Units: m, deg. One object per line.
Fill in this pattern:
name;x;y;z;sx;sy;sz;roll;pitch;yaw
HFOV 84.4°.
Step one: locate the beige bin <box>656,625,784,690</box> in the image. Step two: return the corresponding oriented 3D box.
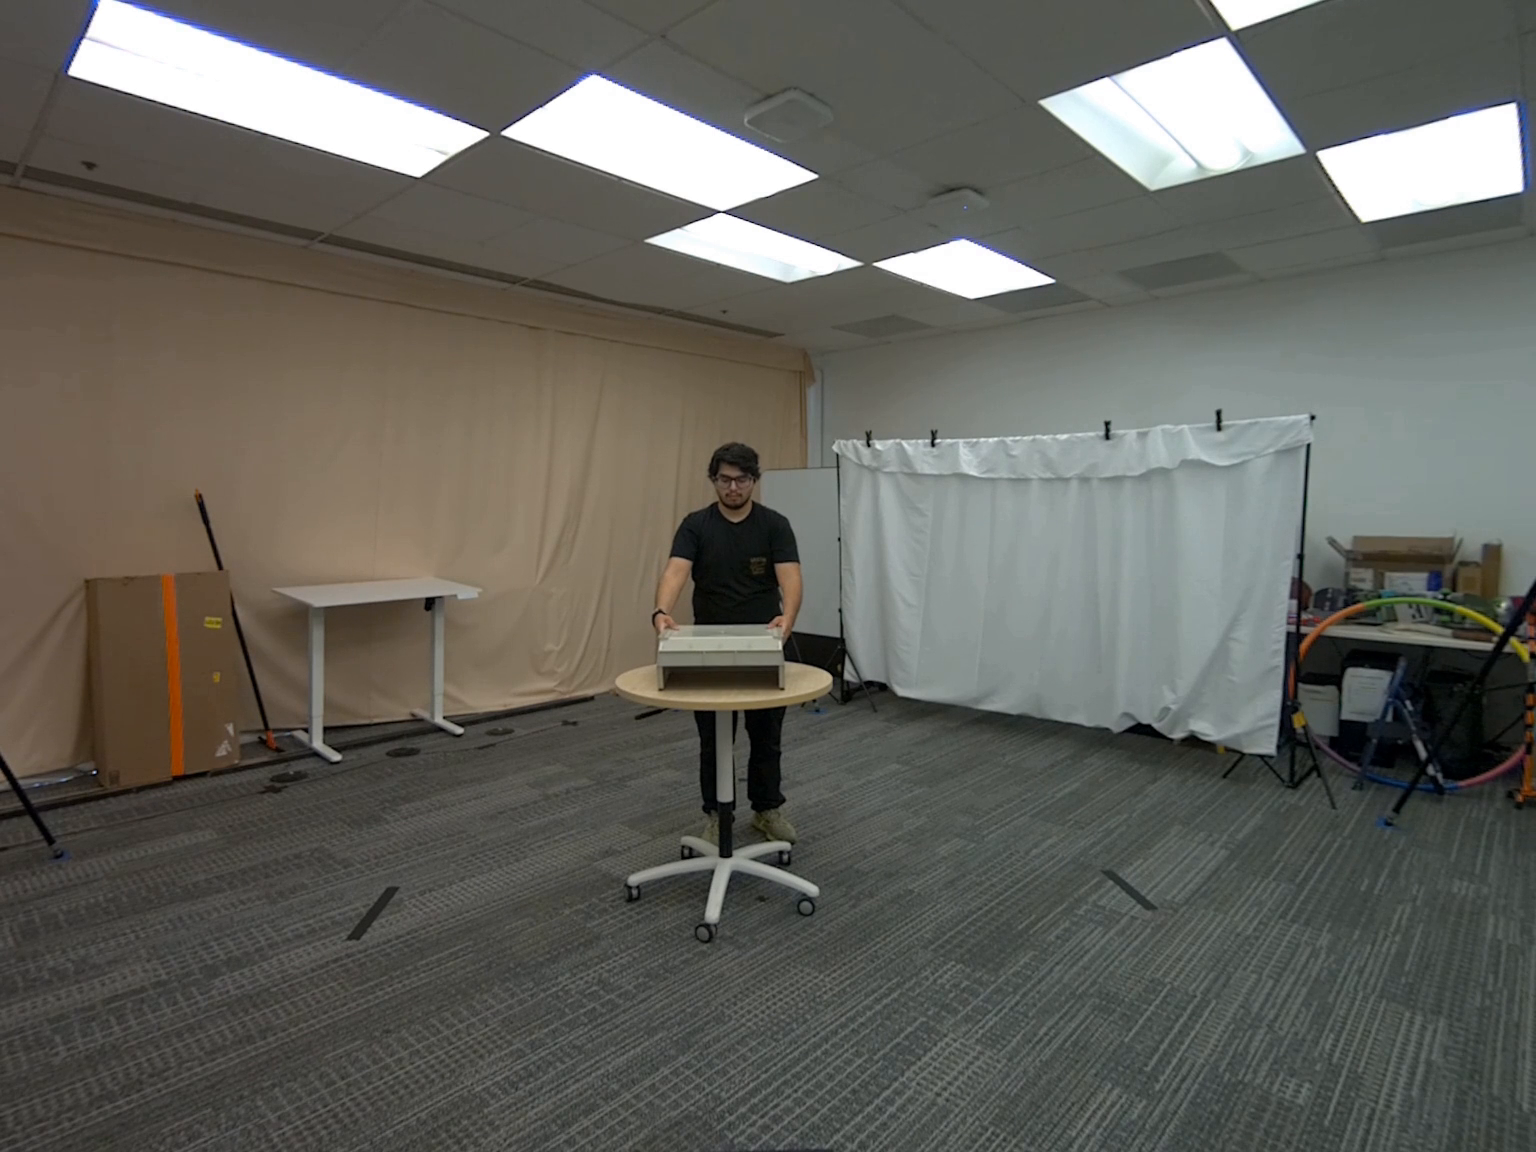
beige bin;-0.161;0.280;2.900;0.423;0.188;0.378;-1;4;0
